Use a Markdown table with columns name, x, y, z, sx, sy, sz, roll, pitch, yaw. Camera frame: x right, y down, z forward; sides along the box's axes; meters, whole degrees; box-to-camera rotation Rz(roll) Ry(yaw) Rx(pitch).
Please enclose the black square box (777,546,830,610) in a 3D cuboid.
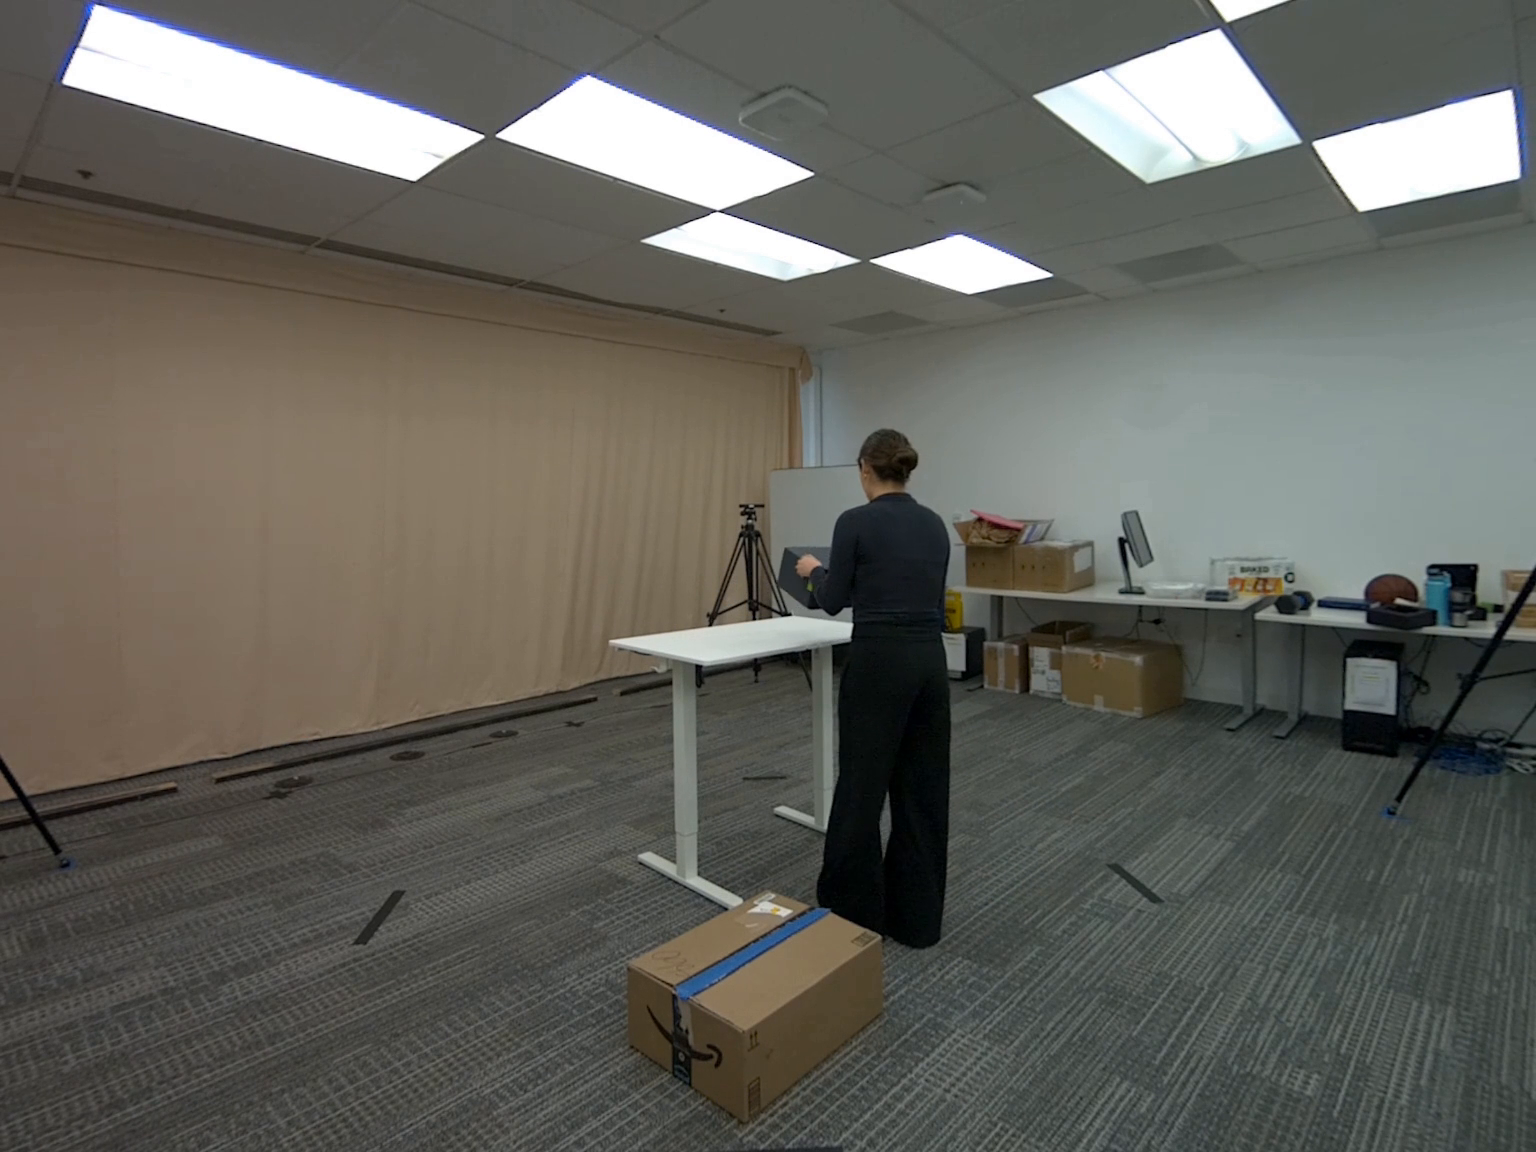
| name | x | y | z | sx | sy | sz | roll | pitch | yaw |
| --- | --- | --- | --- | --- | --- | --- | --- | --- | --- |
| black square box | 0.201 | 0.006 | 3.070 | 0.222 | 0.154 | 0.225 | -2 | 23 | -31 |
